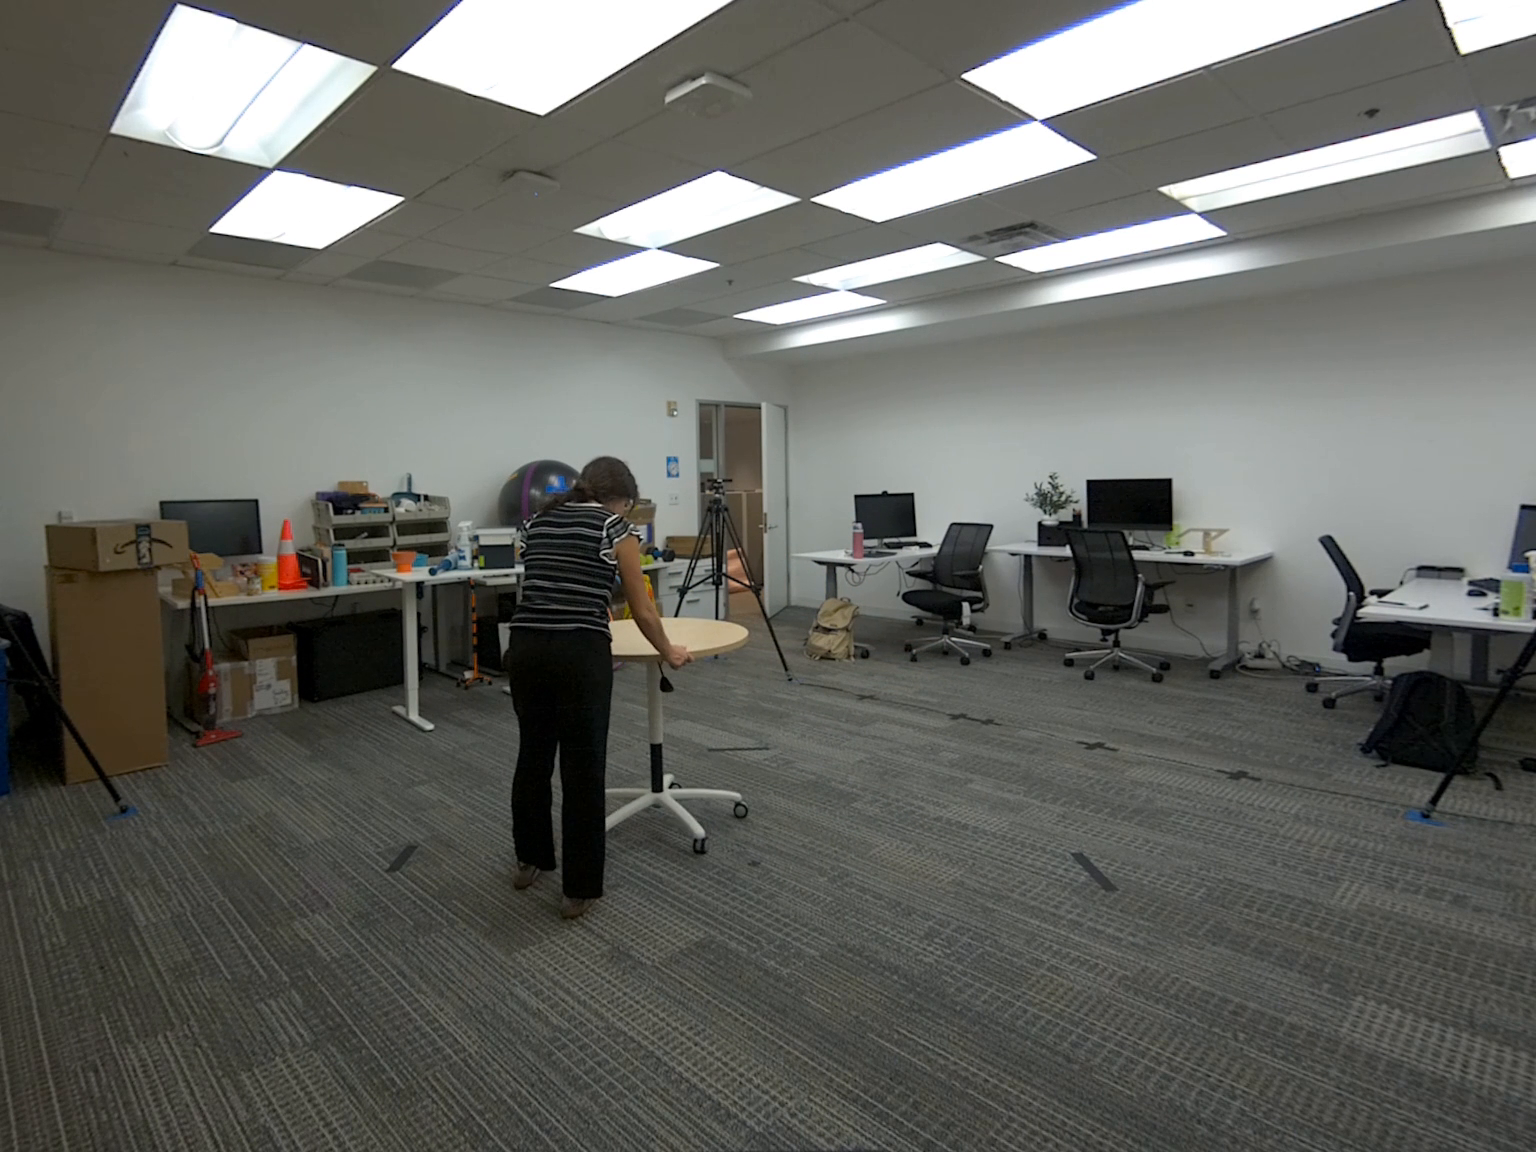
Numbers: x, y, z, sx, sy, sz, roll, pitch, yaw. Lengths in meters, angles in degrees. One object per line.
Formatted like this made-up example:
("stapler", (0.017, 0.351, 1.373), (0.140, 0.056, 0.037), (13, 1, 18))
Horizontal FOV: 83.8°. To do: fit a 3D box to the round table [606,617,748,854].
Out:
("round table", (-0.443, 0.625, 3.448), (0.763, 0.791, 0.768), (-2, 5, -2))
